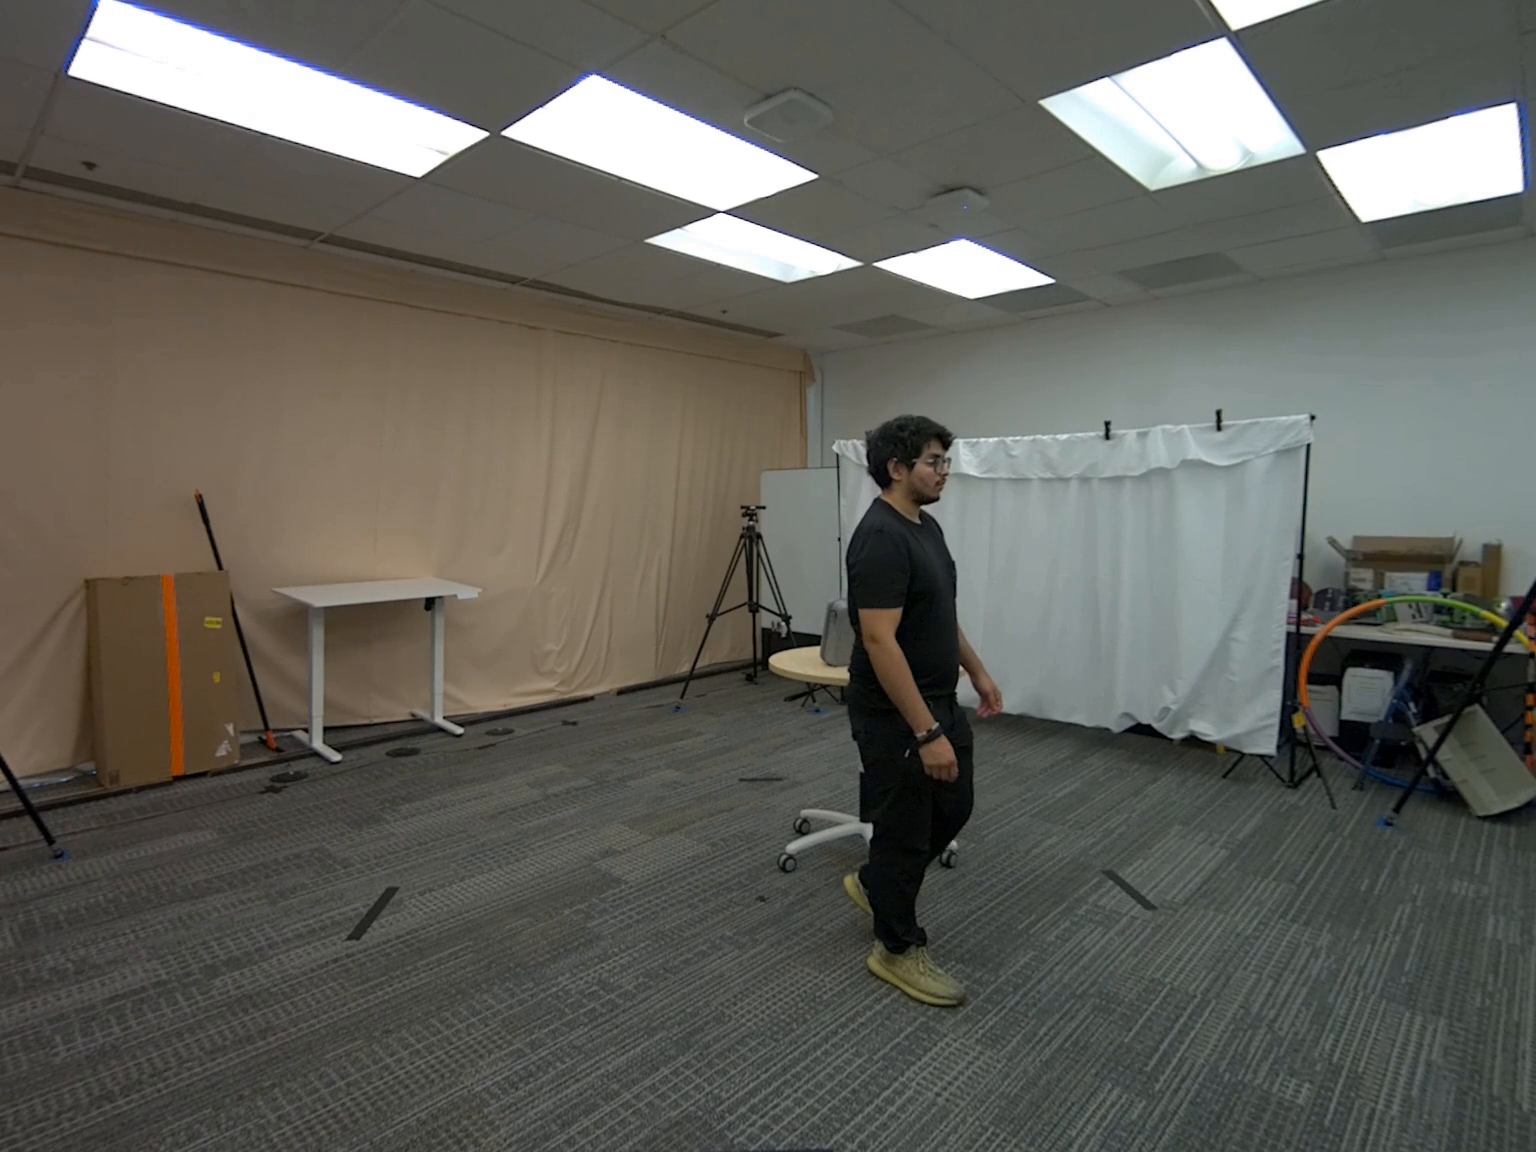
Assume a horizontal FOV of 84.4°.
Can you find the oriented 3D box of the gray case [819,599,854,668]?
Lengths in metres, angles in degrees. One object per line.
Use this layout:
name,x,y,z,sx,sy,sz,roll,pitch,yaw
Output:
gray case,0.341,0.209,3.235,0.250,0.259,0.108,-1,14,-29
